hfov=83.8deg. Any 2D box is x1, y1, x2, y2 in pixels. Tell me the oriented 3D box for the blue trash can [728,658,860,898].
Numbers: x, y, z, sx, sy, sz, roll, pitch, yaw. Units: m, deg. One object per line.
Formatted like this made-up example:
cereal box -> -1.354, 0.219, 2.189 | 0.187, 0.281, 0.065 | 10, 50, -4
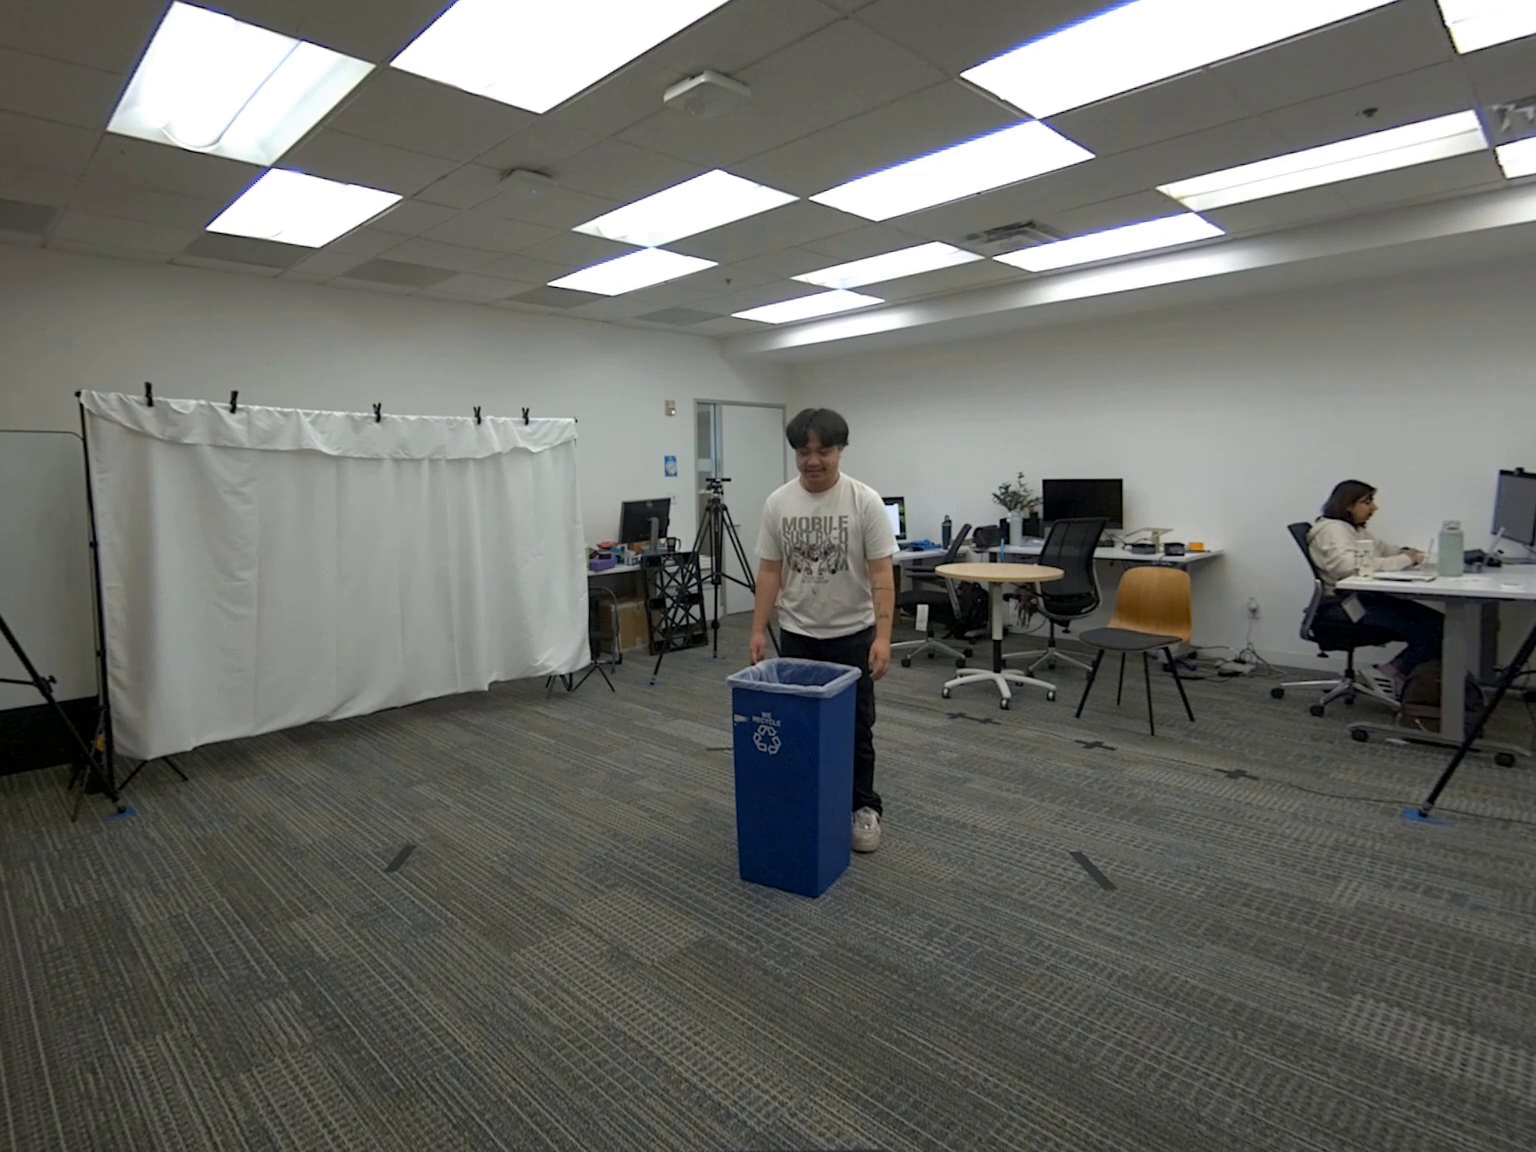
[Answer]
blue trash can -> 0.100, 0.689, 3.012 | 0.383, 0.711, 0.370 | 1, 5, 28
